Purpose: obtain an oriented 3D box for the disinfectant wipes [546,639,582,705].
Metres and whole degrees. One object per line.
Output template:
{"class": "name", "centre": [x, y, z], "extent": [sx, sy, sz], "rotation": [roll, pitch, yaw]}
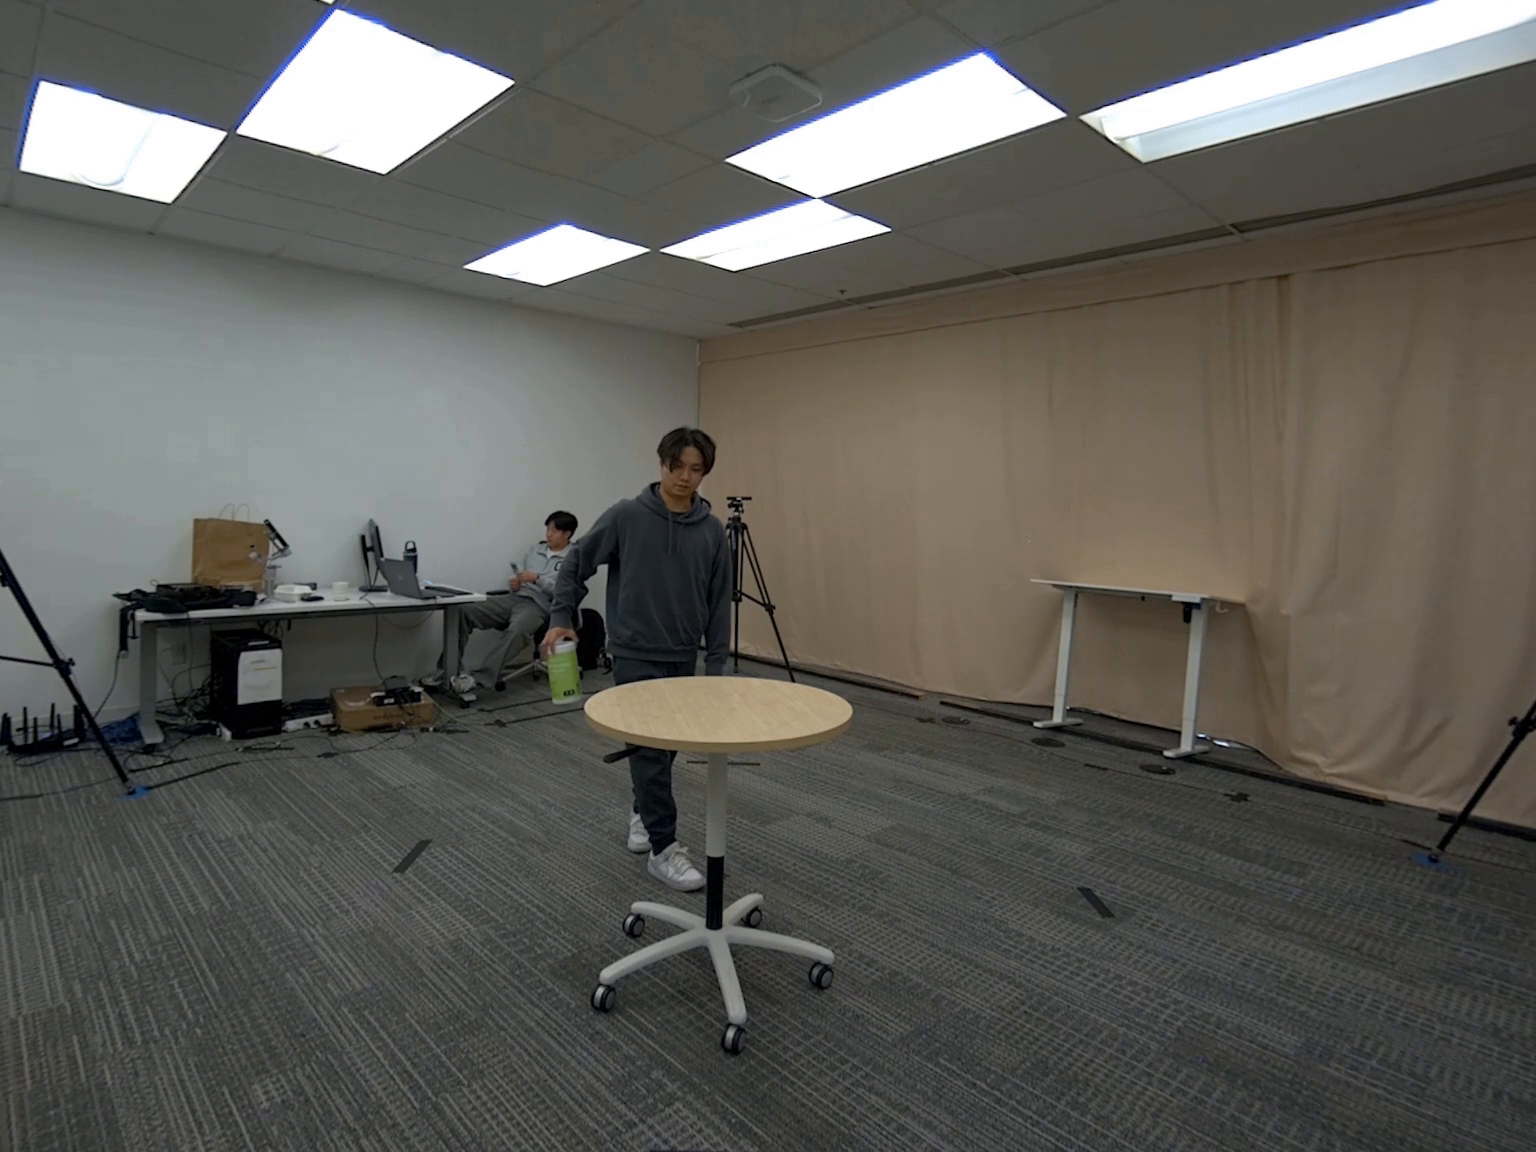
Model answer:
{"class": "disinfectant wipes", "centre": [-0.753, 0.355, 3.076], "extent": [0.118, 0.217, 0.118], "rotation": [-5, 2, -1]}
